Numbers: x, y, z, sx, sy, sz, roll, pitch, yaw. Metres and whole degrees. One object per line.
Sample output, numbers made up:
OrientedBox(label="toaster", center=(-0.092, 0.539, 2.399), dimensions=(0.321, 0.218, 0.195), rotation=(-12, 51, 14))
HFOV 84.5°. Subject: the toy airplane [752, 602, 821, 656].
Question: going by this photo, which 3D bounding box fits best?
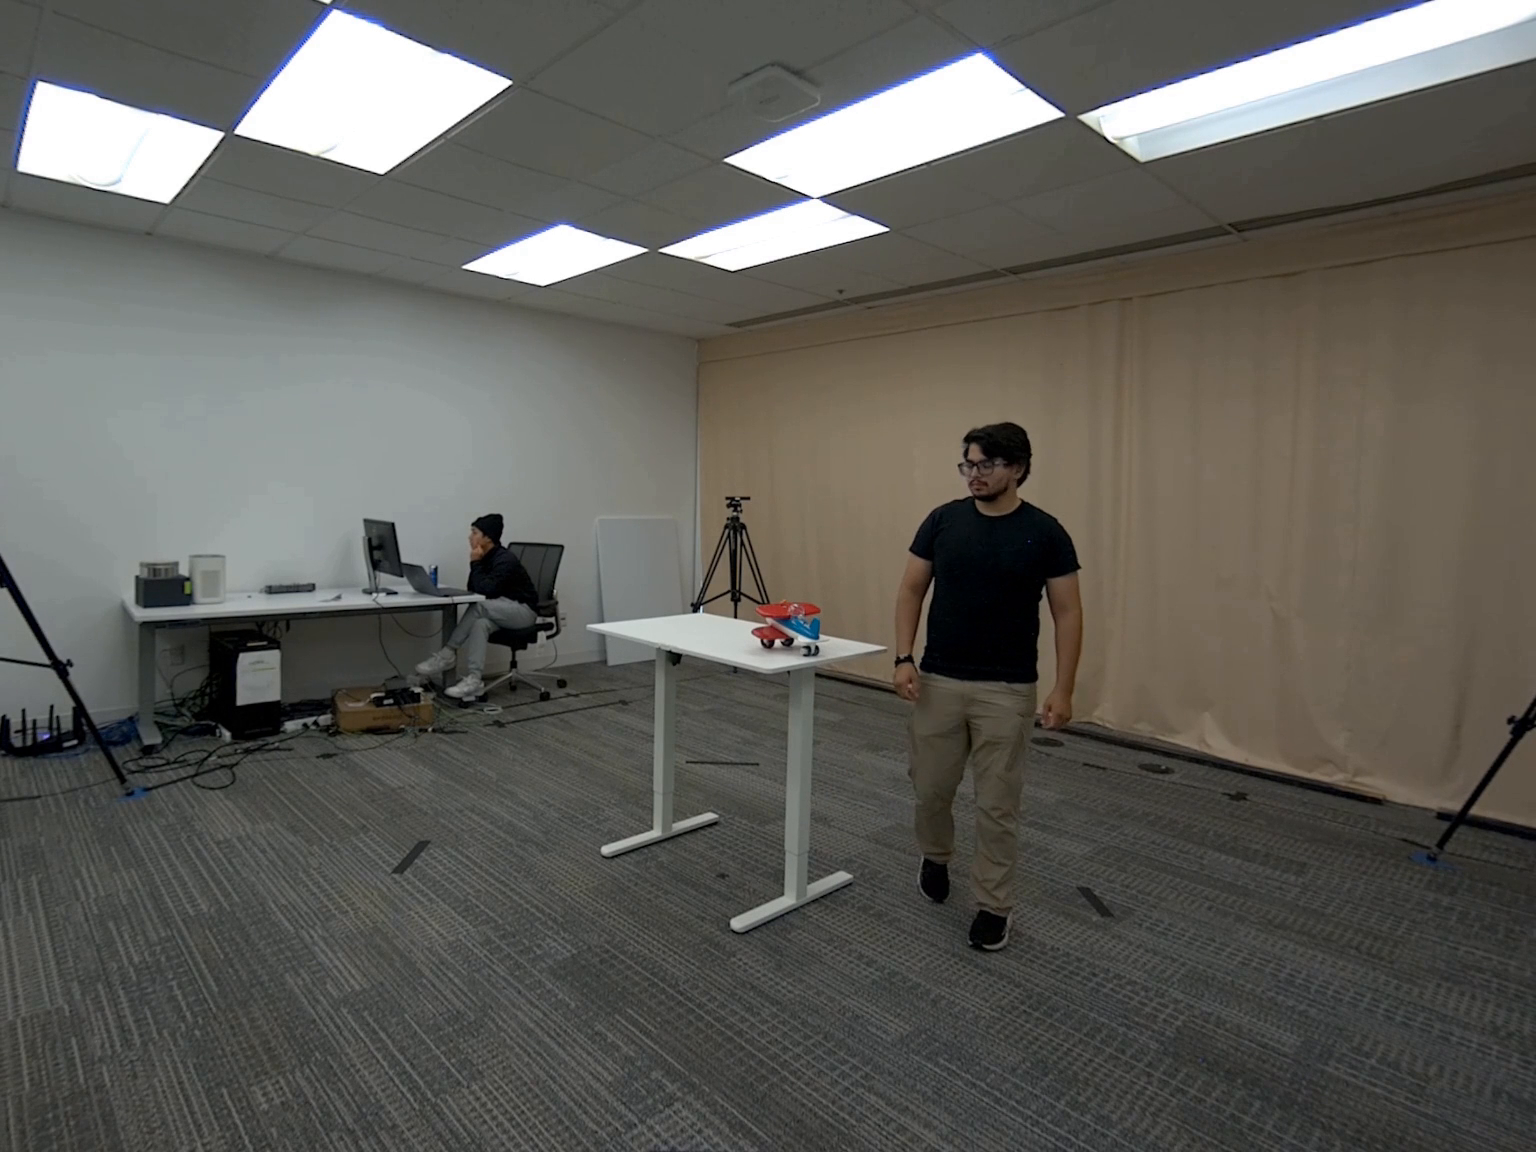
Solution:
OrientedBox(label="toy airplane", center=(0.091, 0.176, 2.849), dimensions=(0.264, 0.156, 0.247), rotation=(2, 6, 26))
